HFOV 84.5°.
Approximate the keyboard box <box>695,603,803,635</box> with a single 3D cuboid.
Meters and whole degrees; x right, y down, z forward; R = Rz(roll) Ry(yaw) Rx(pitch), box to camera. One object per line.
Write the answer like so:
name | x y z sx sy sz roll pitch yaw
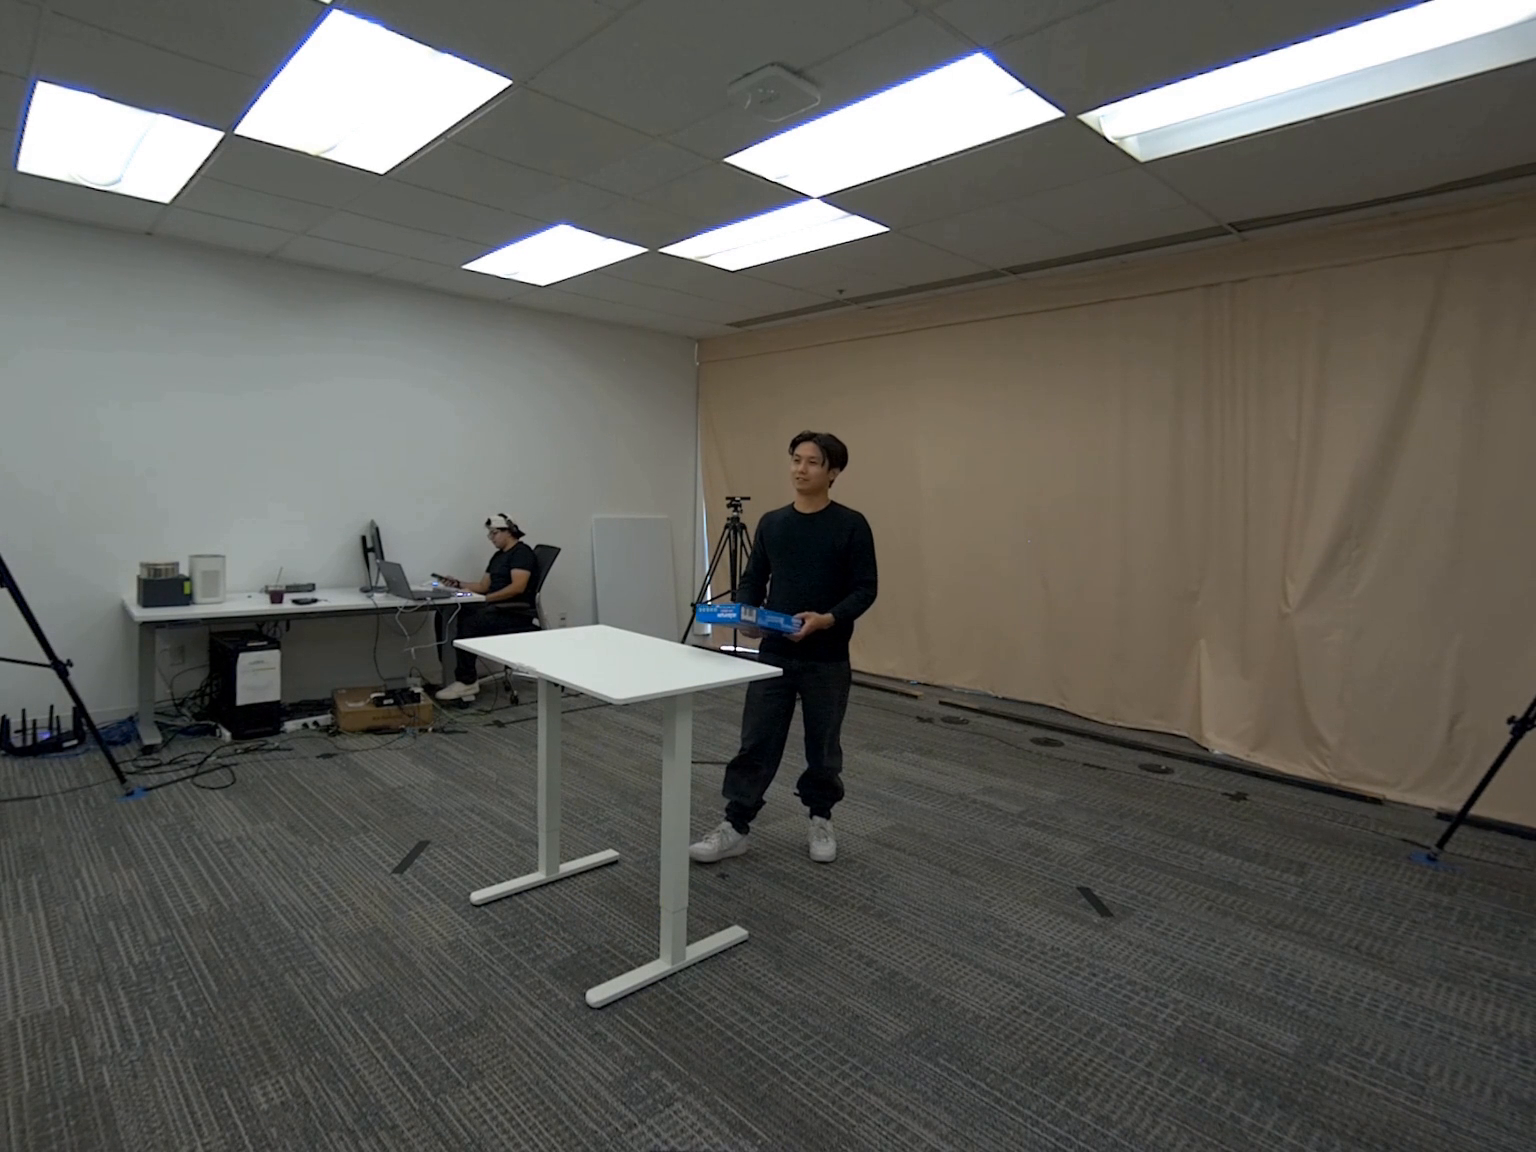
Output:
keyboard box | -0.075 0.153 2.925 0.179 0.059 0.425 -1 -10 30
